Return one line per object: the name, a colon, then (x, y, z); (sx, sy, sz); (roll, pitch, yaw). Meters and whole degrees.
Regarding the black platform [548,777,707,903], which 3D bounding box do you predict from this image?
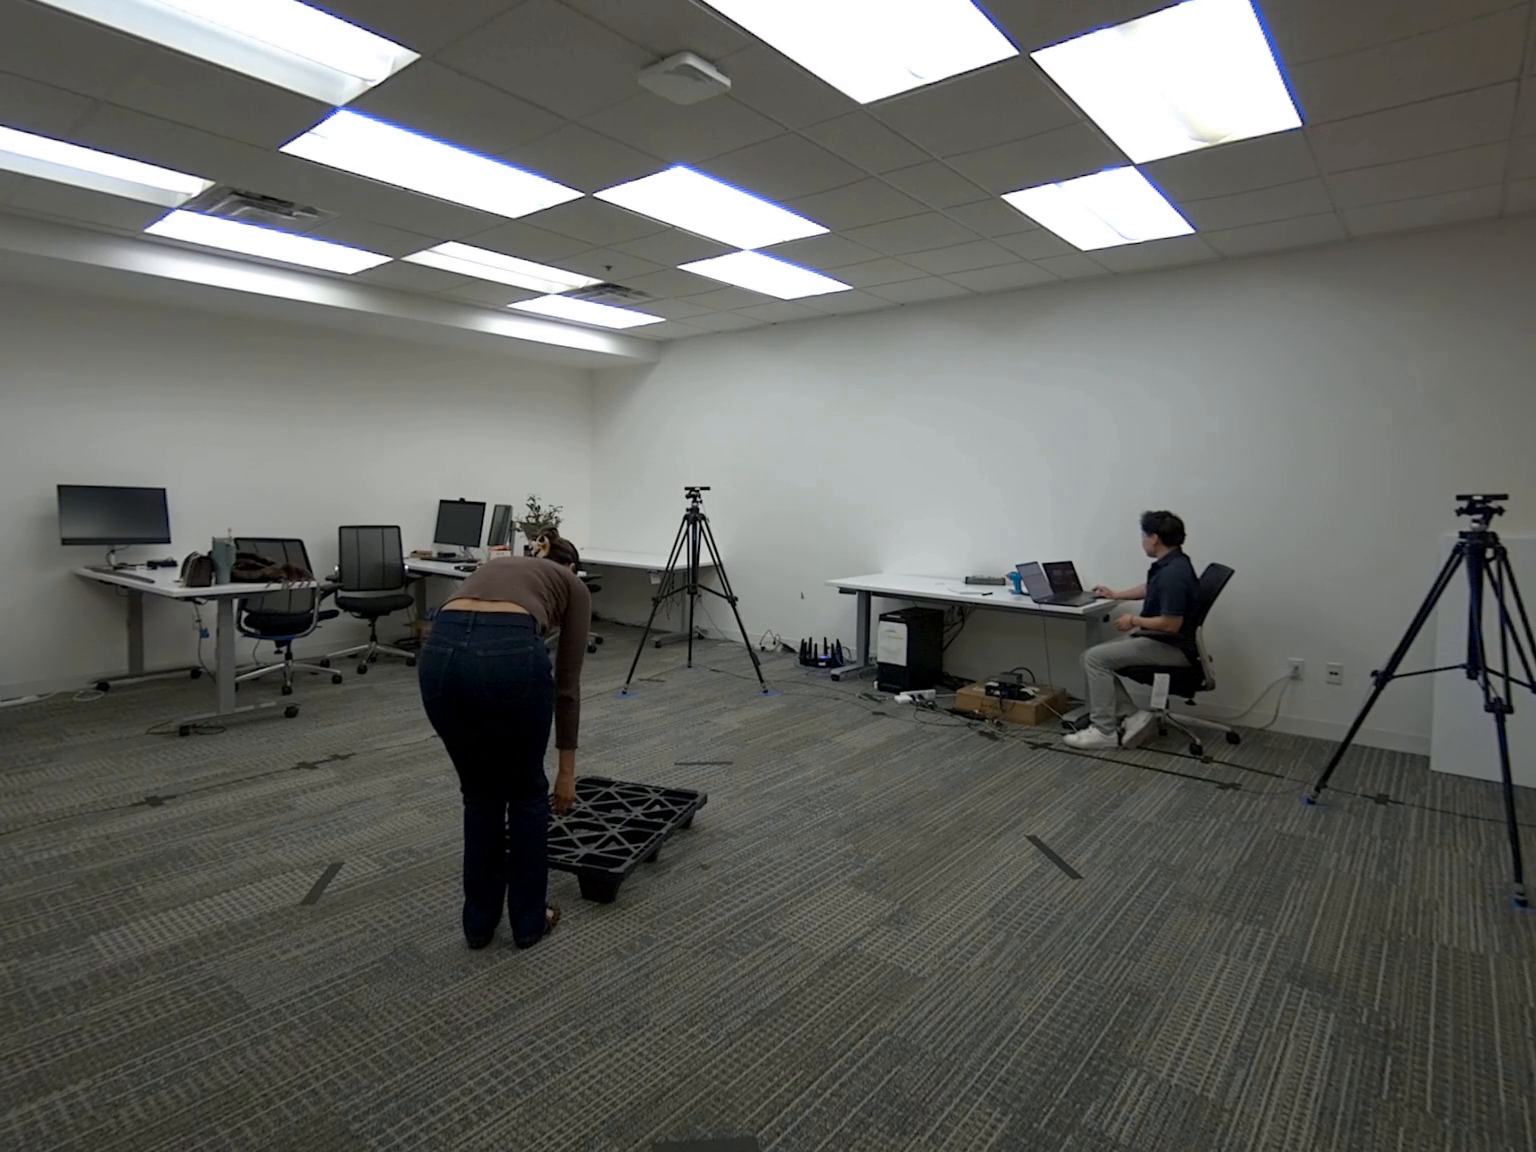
black platform: (-0.658, 0.979, 3.242); (0.618, 0.143, 0.792); (2, 5, 18)
